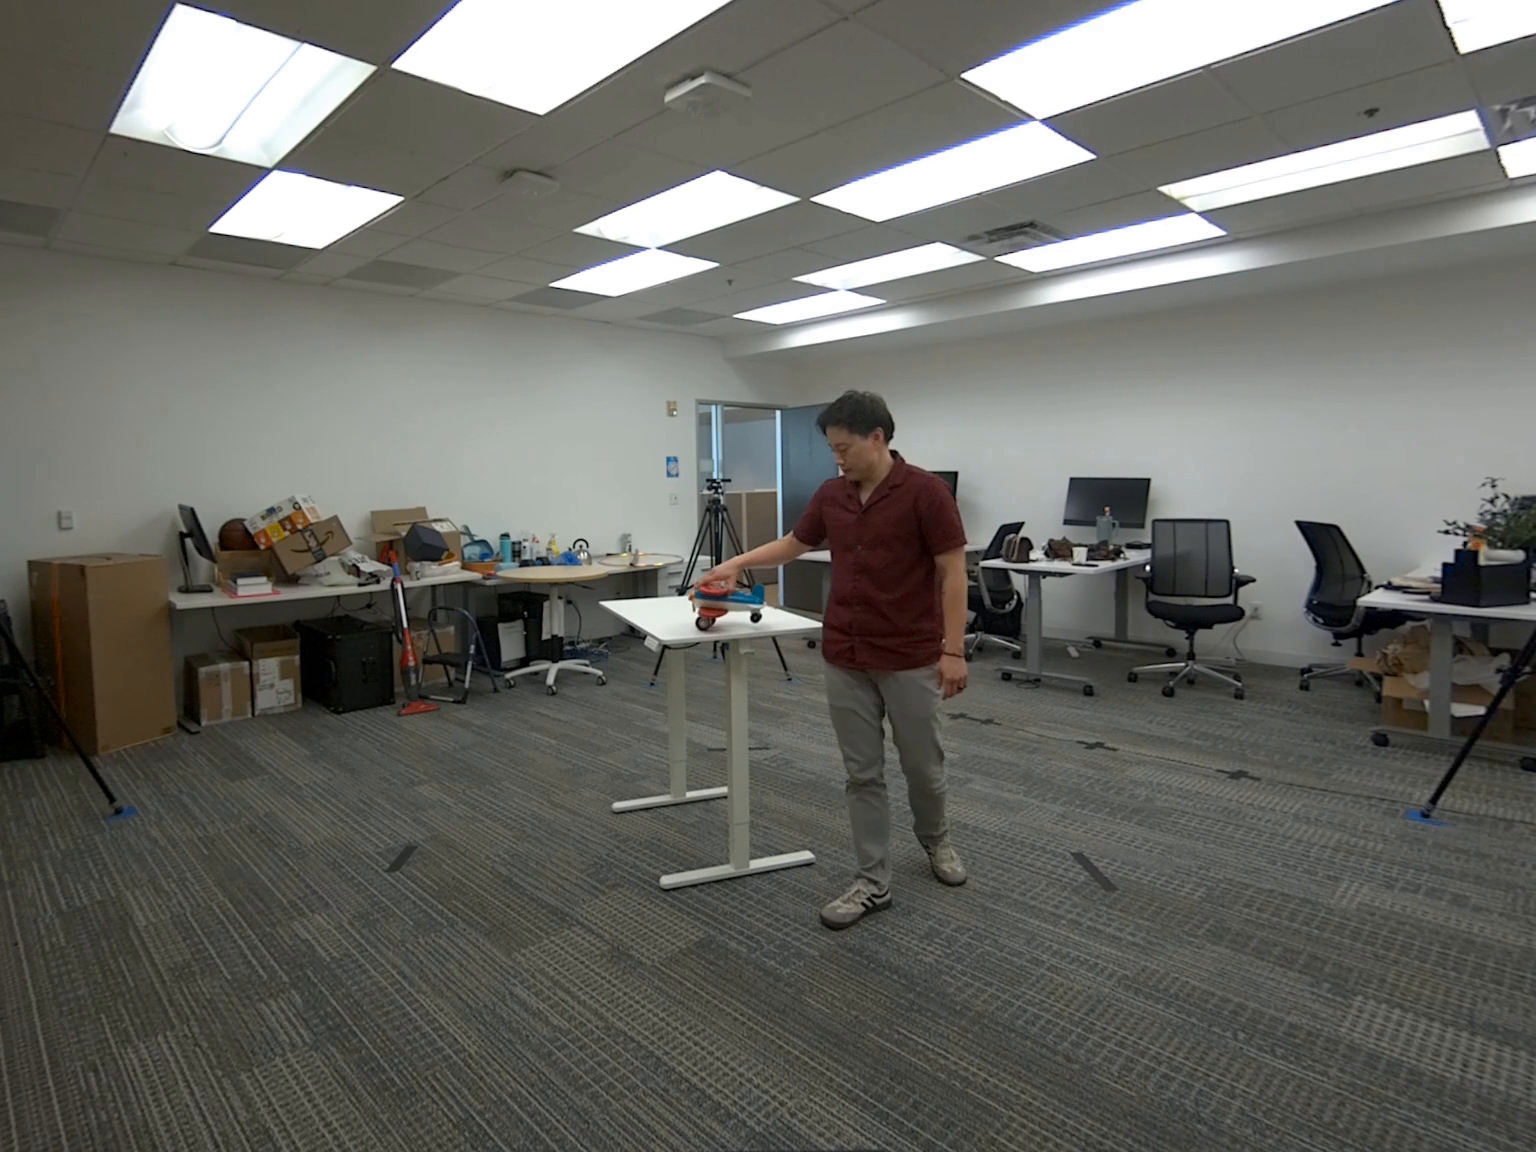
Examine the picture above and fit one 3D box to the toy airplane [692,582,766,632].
[{"bbox_3d":[-0.130,0.093,2.952,0.256,0.156,0.255,-11,5,-17],"label":"toy airplane"}]
